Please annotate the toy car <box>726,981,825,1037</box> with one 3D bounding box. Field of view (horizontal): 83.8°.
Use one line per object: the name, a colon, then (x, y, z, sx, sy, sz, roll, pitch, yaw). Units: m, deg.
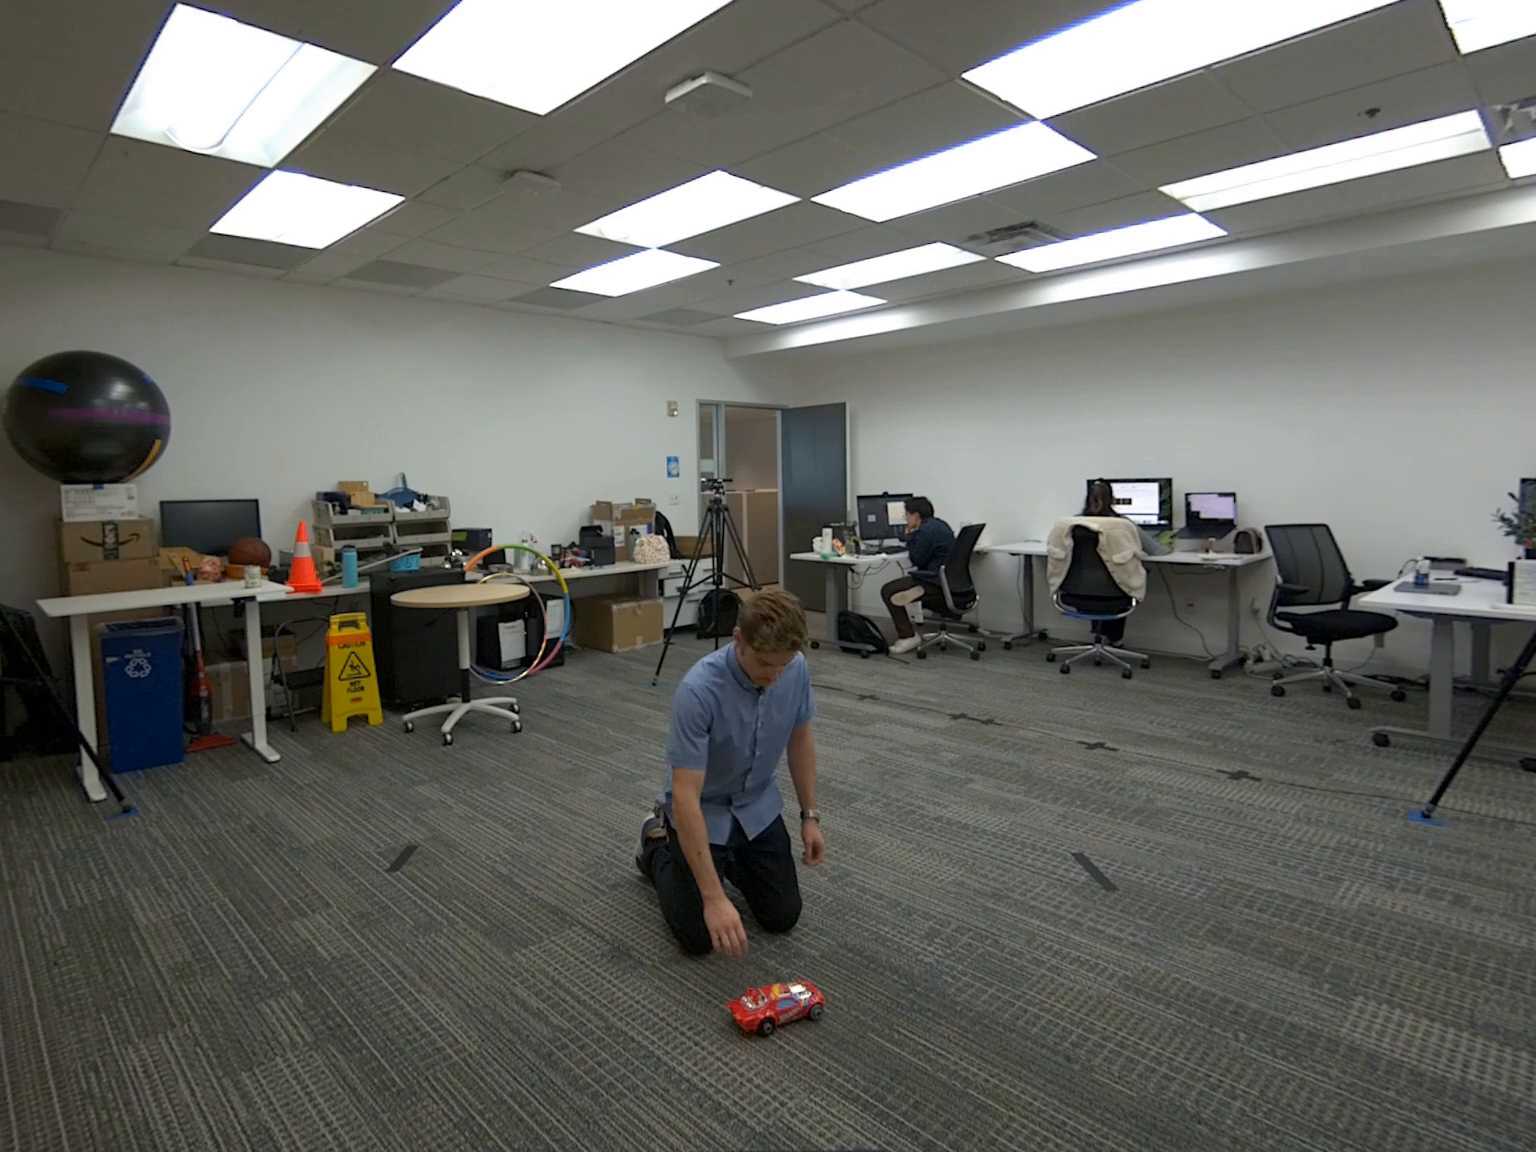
toy car: (0.018, 1.122, 2.214, 0.248, 0.083, 0.134, 7, 3, -25)
